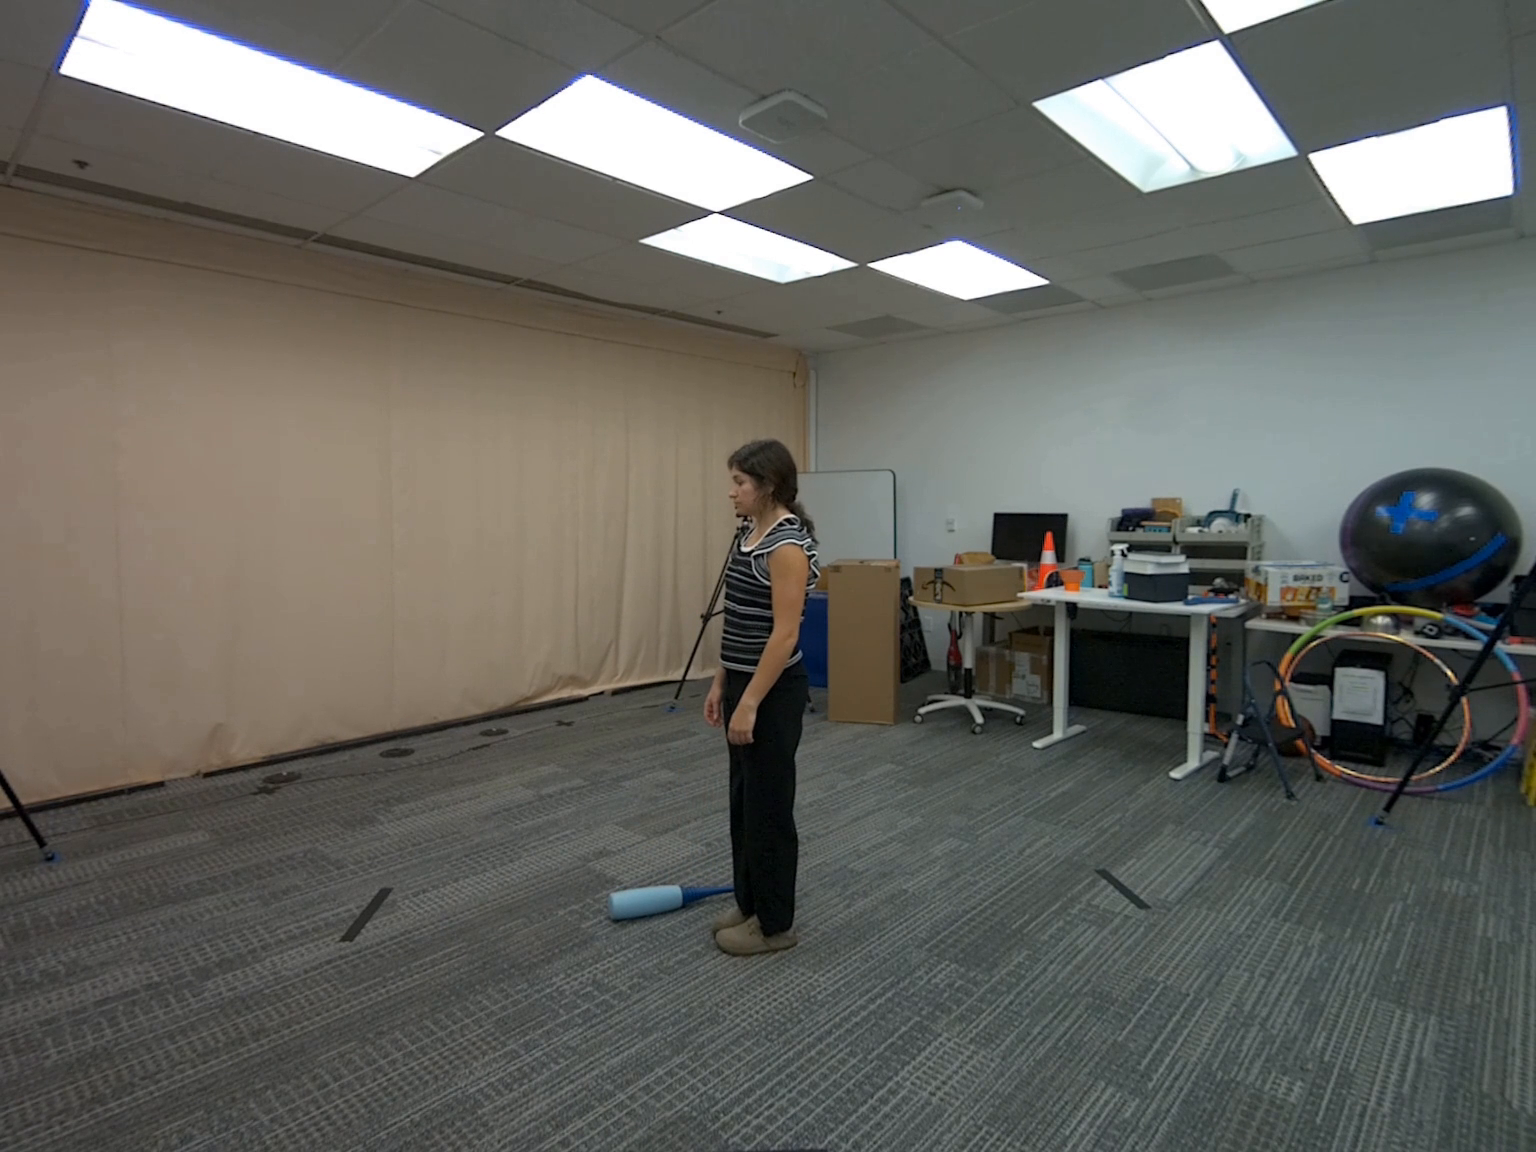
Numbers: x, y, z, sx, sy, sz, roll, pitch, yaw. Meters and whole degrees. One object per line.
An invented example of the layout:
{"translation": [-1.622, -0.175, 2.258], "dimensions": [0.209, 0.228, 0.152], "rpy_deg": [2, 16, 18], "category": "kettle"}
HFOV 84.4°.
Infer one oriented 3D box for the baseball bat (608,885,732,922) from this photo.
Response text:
{"translation": [-0.290, 1.115, 2.931], "dimensions": [0.531, 0.089, 0.091], "rpy_deg": [1, 3, -23], "category": "baseball bat"}
